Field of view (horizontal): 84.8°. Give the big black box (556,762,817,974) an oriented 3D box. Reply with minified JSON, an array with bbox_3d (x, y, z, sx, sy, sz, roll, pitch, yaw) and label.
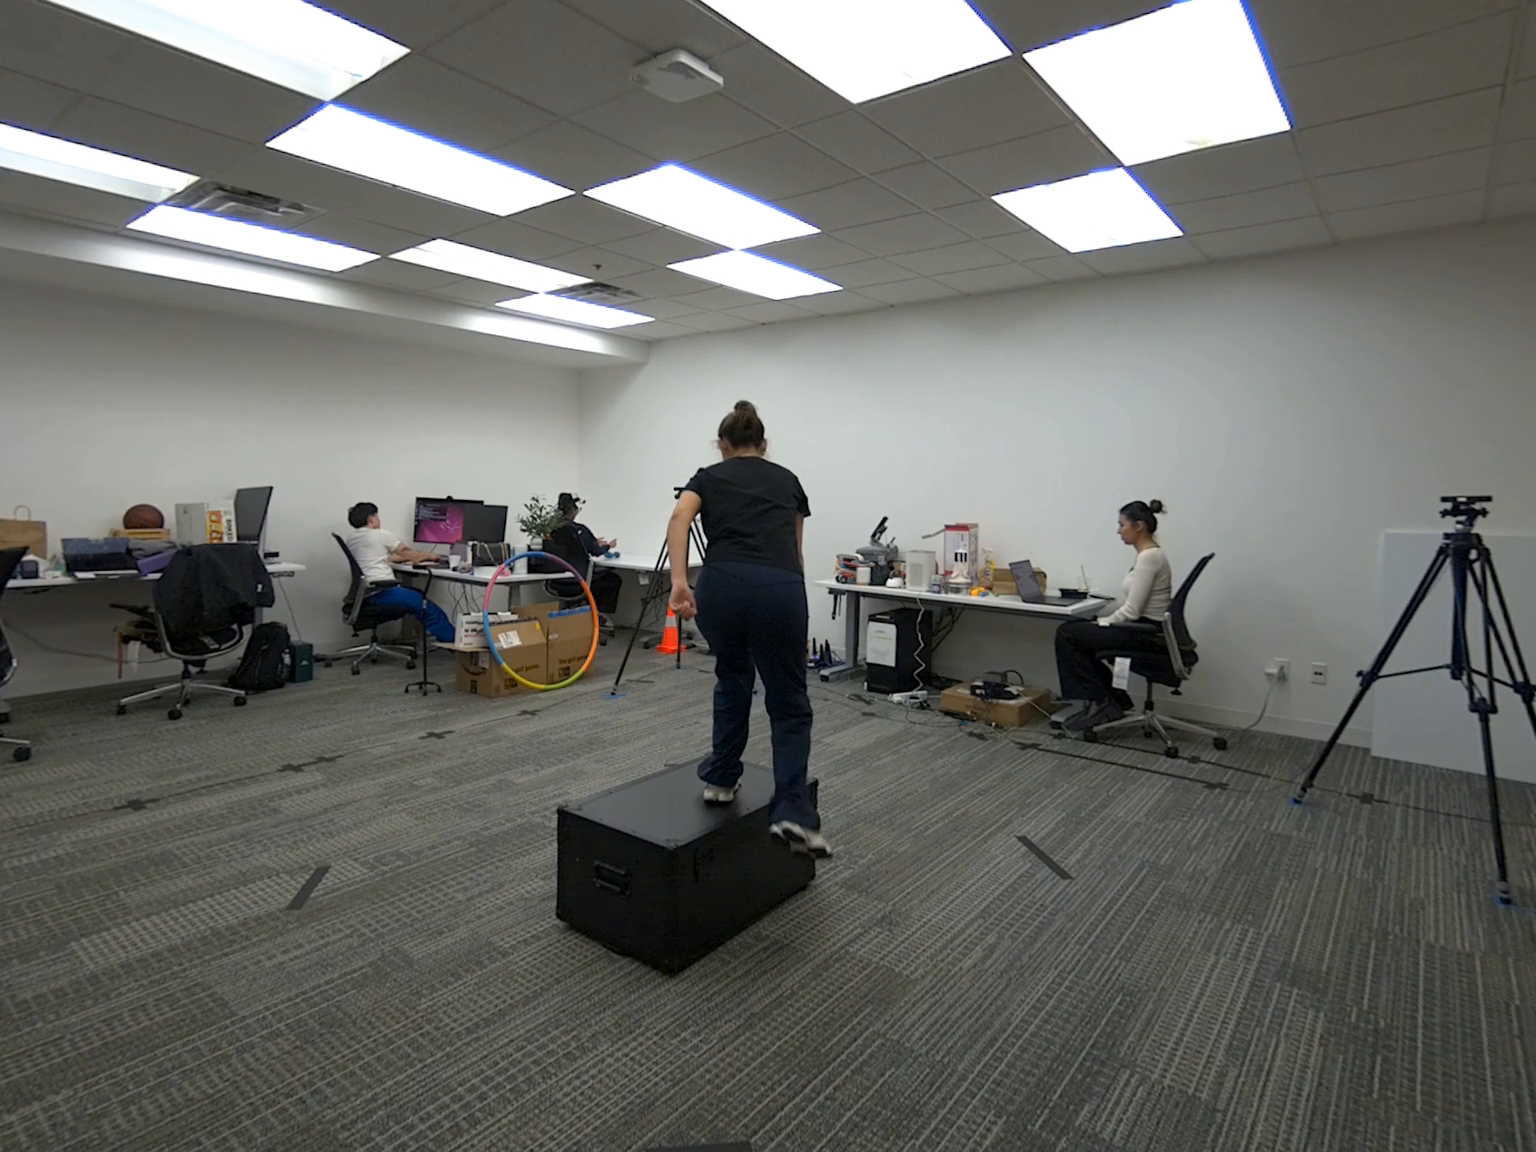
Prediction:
[{"bbox_3d":[-0.217,0.901,2.867,0.538,0.395,0.837,5,7,36],"label":"big black box"}]
